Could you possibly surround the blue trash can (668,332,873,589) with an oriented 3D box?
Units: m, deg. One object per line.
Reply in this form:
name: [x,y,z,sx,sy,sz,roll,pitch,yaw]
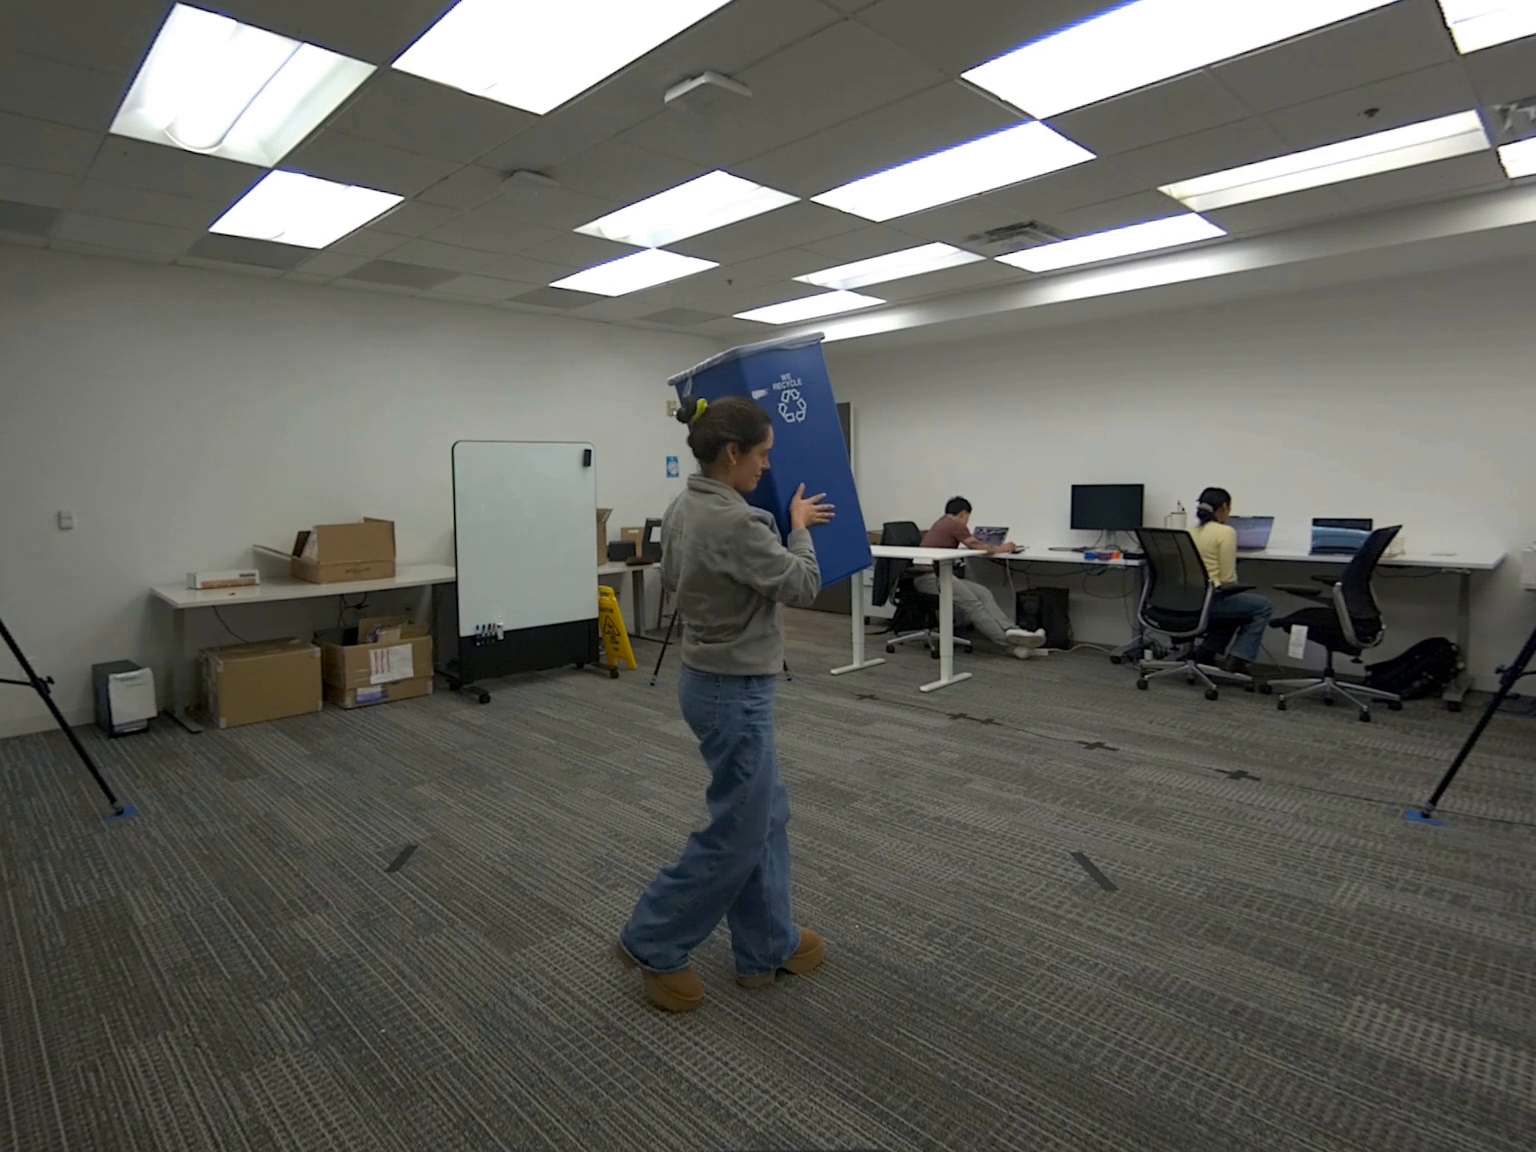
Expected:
blue trash can: [0.026,-0.322,2.586,0.368,0.709,0.387,-21,7,-36]
